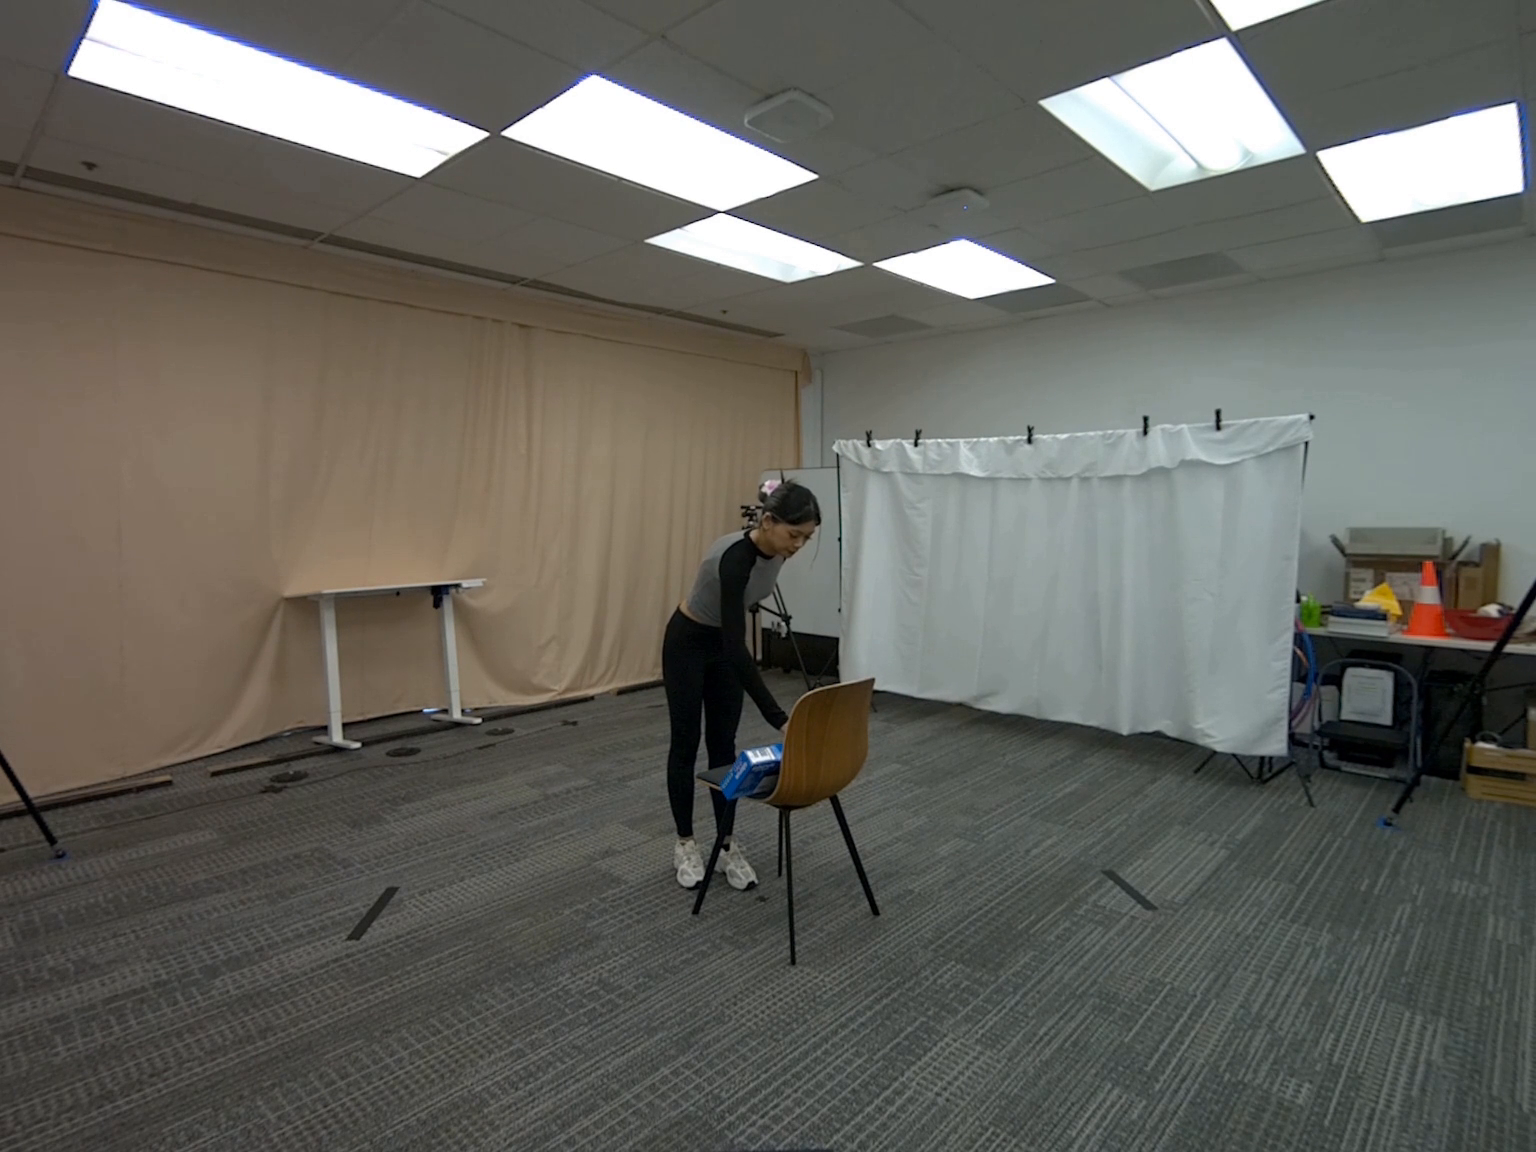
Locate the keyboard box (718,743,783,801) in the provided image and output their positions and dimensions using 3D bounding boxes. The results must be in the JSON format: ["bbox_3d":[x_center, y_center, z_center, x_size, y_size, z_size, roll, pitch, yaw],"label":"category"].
[{"bbox_3d":[0.064,0.608,2.680,0.423,0.176,0.061,0,43,-40],"label":"keyboard box"}]
